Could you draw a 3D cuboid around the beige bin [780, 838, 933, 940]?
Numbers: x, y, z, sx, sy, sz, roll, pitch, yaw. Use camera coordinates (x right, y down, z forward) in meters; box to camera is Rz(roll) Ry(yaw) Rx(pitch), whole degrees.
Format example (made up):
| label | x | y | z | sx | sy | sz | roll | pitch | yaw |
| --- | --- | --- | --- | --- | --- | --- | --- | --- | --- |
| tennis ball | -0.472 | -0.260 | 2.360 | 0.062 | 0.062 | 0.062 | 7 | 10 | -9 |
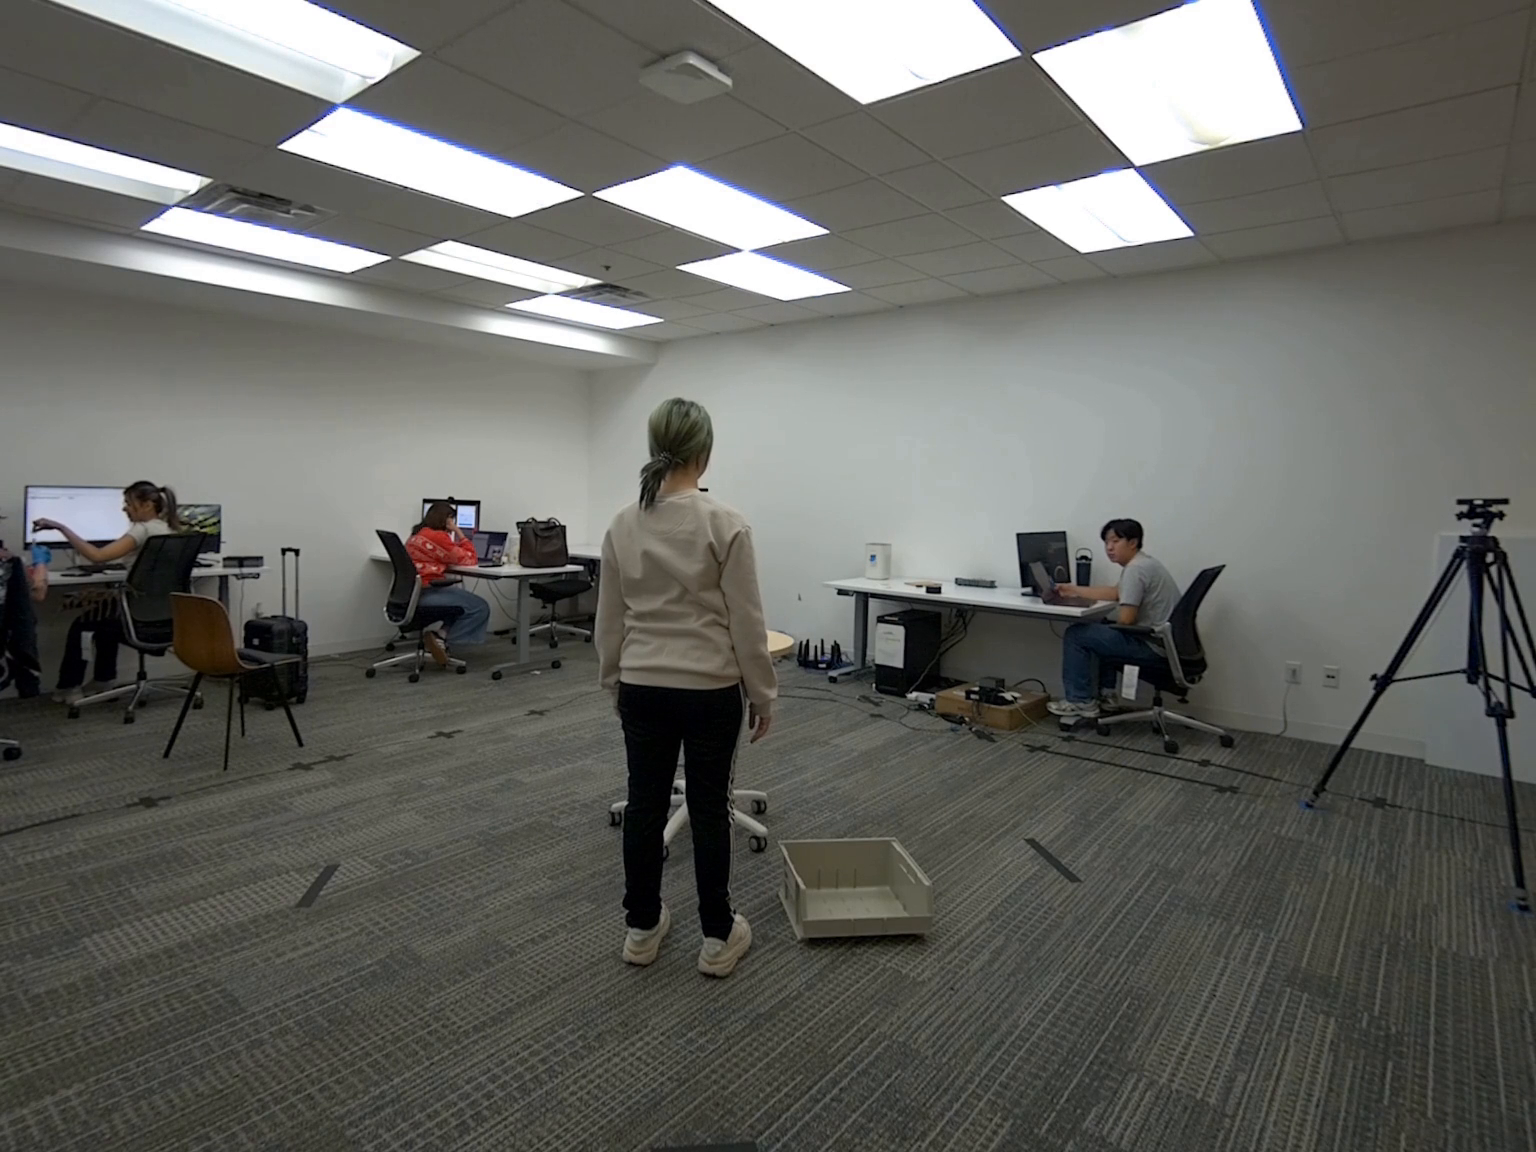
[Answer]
| label | x | y | z | sx | sy | sz | roll | pitch | yaw |
| --- | --- | --- | --- | --- | --- | --- | --- | --- | --- |
| beige bin | 0.271 | 1.026 | 2.781 | 0.418 | 0.188 | 0.382 | 0 | 4 | -10 |
